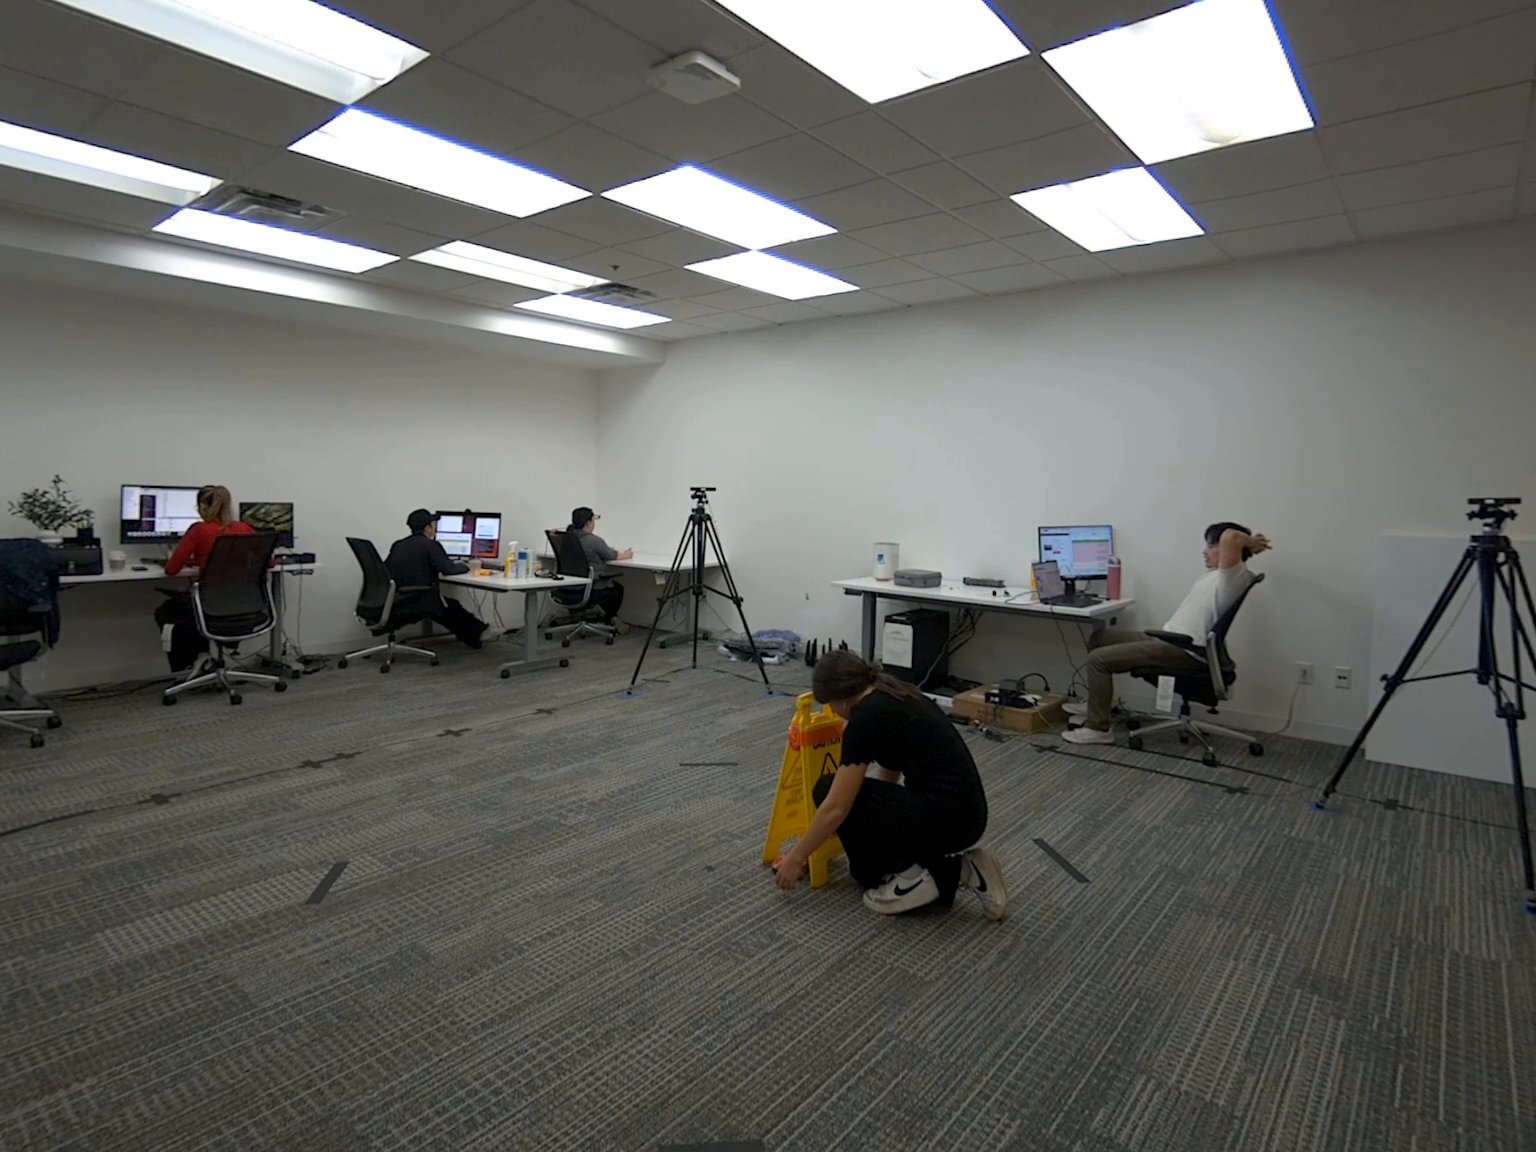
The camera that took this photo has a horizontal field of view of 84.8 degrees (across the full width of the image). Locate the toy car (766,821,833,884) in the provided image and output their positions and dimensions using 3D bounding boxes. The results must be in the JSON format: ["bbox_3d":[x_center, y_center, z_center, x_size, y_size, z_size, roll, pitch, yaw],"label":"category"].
[{"bbox_3d":[0.119,1.028,3.143,0.134,0.082,0.249,3,15,34],"label":"toy car"}]
